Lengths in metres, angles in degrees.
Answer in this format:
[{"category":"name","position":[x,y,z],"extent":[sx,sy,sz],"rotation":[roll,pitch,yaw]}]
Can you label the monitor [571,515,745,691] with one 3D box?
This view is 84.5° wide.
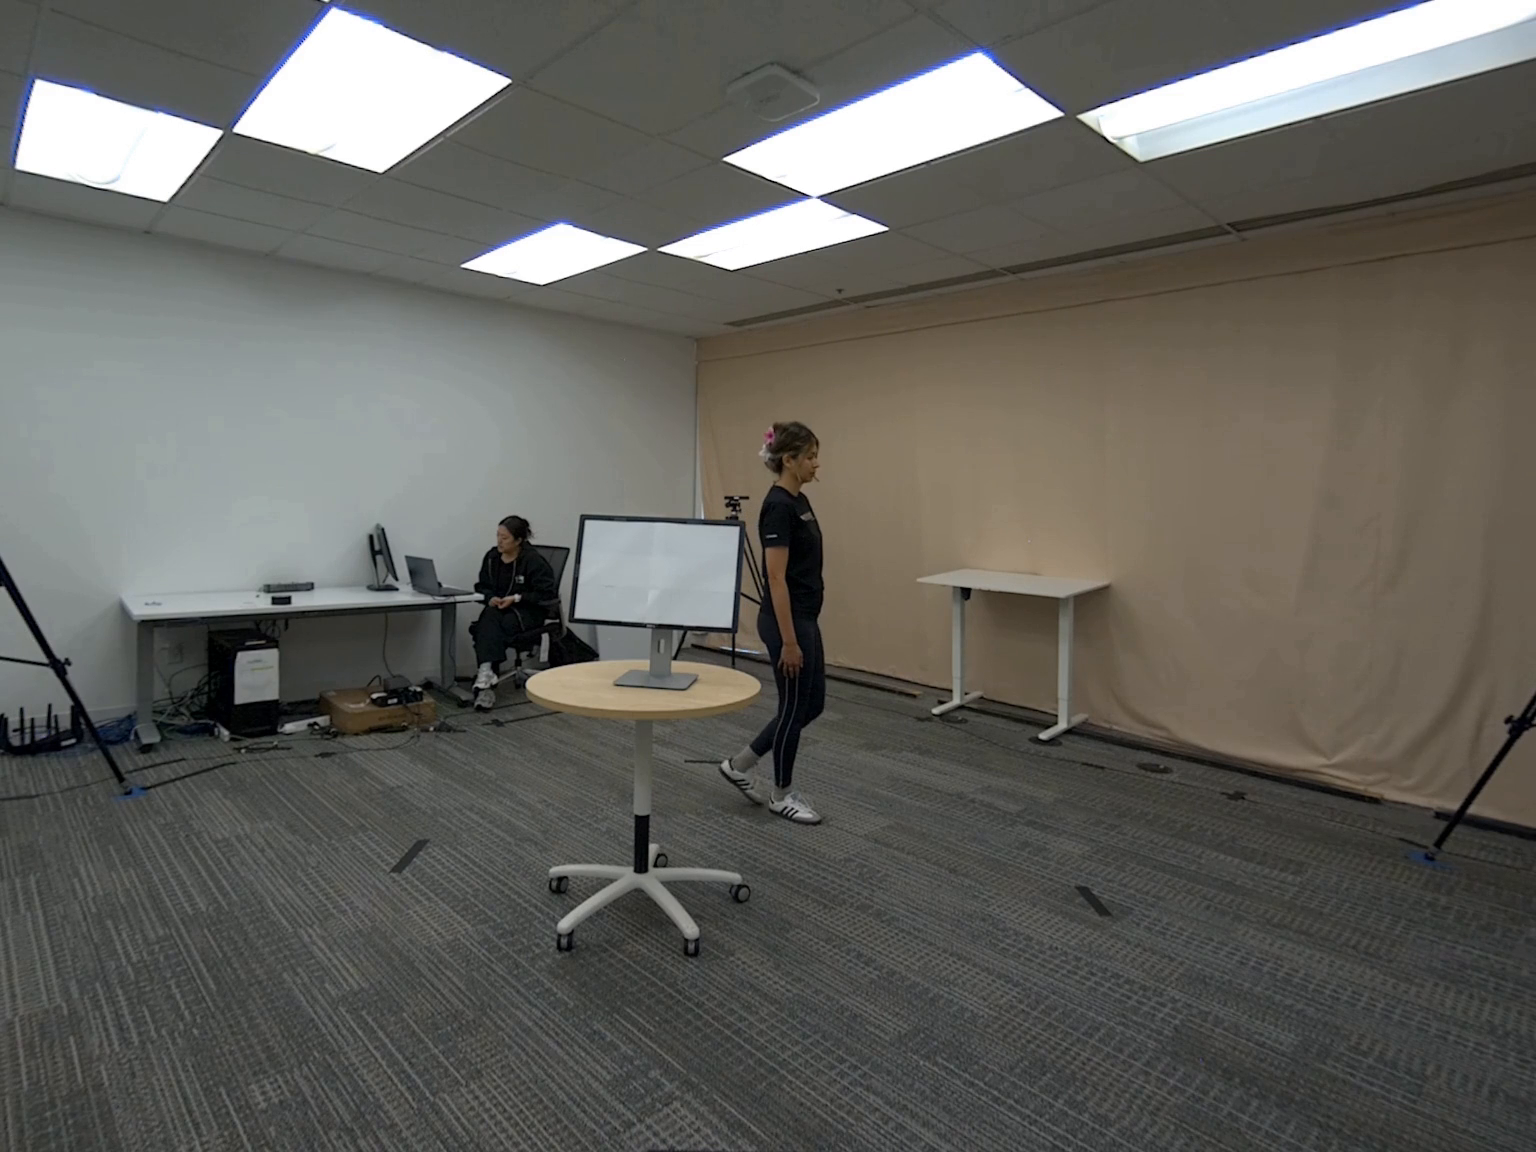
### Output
[{"category":"monitor","position":[-0.361,0.089,2.767],"extent":[0.543,0.521,0.186],"rotation":[3,4,8]}]
